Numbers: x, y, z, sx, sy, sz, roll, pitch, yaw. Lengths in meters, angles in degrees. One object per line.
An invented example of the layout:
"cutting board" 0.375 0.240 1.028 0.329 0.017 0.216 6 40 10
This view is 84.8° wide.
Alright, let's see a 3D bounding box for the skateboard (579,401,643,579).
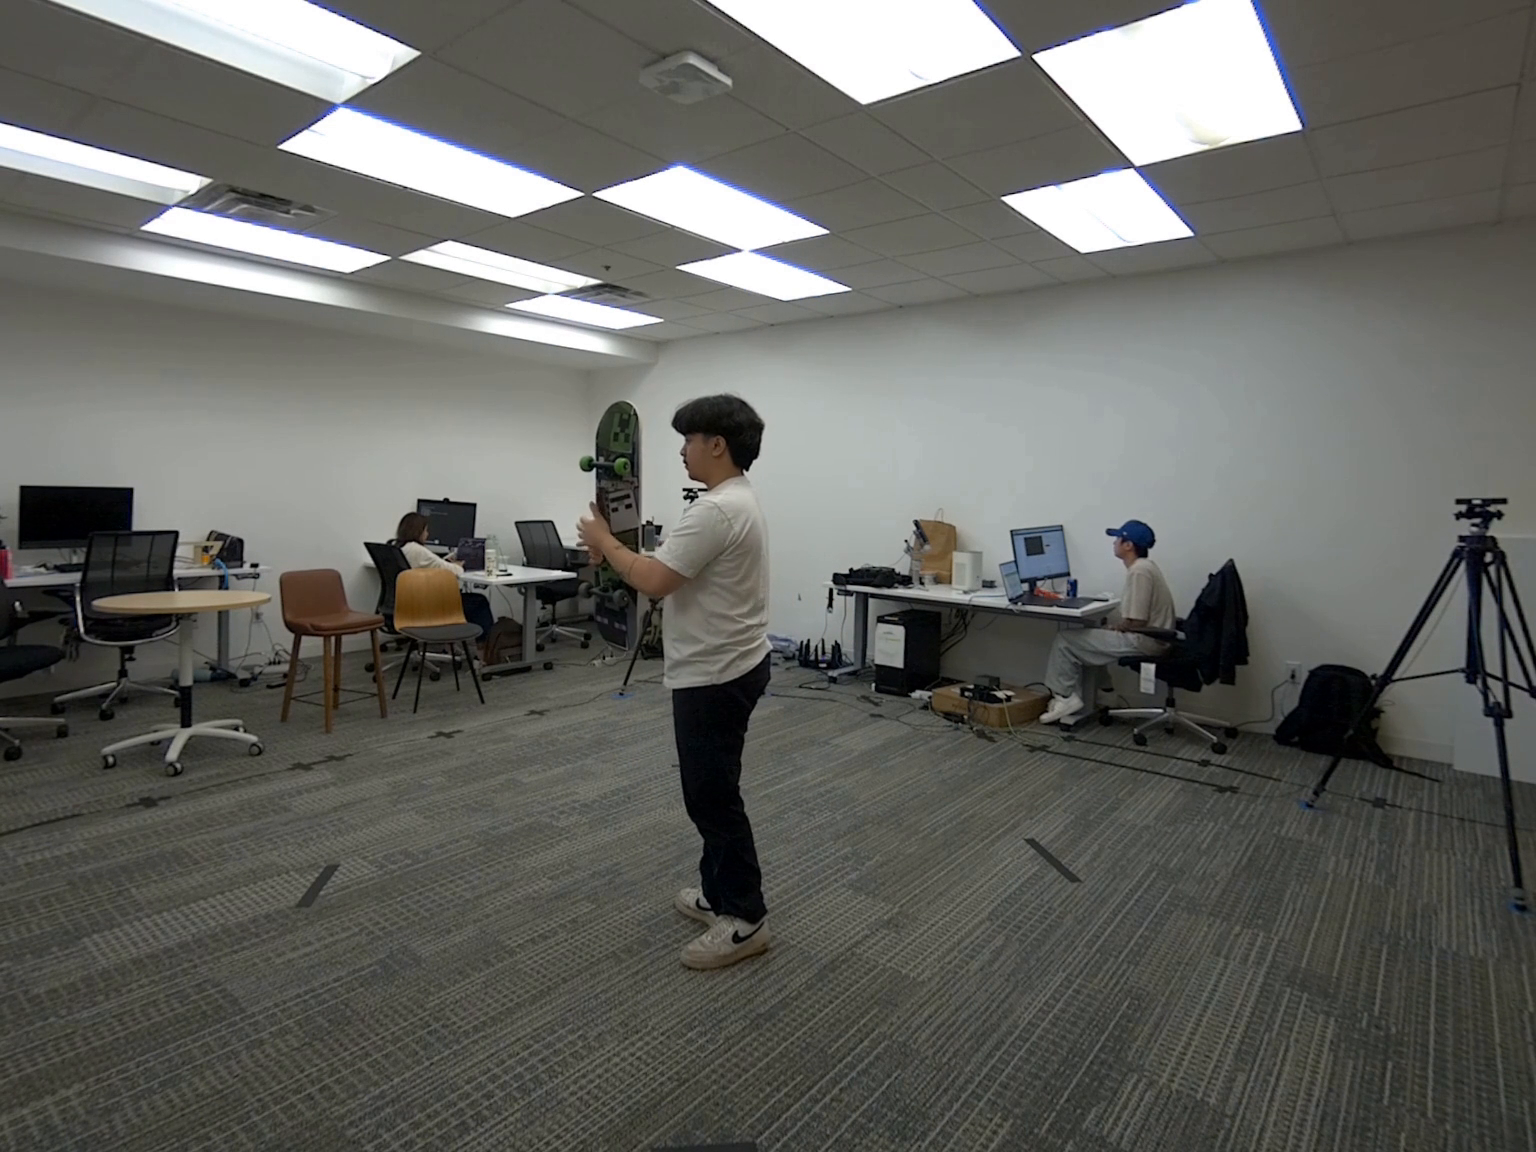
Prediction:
"skateboard" -0.495 -0.150 2.627 0.200 0.781 0.107 7 8 36
